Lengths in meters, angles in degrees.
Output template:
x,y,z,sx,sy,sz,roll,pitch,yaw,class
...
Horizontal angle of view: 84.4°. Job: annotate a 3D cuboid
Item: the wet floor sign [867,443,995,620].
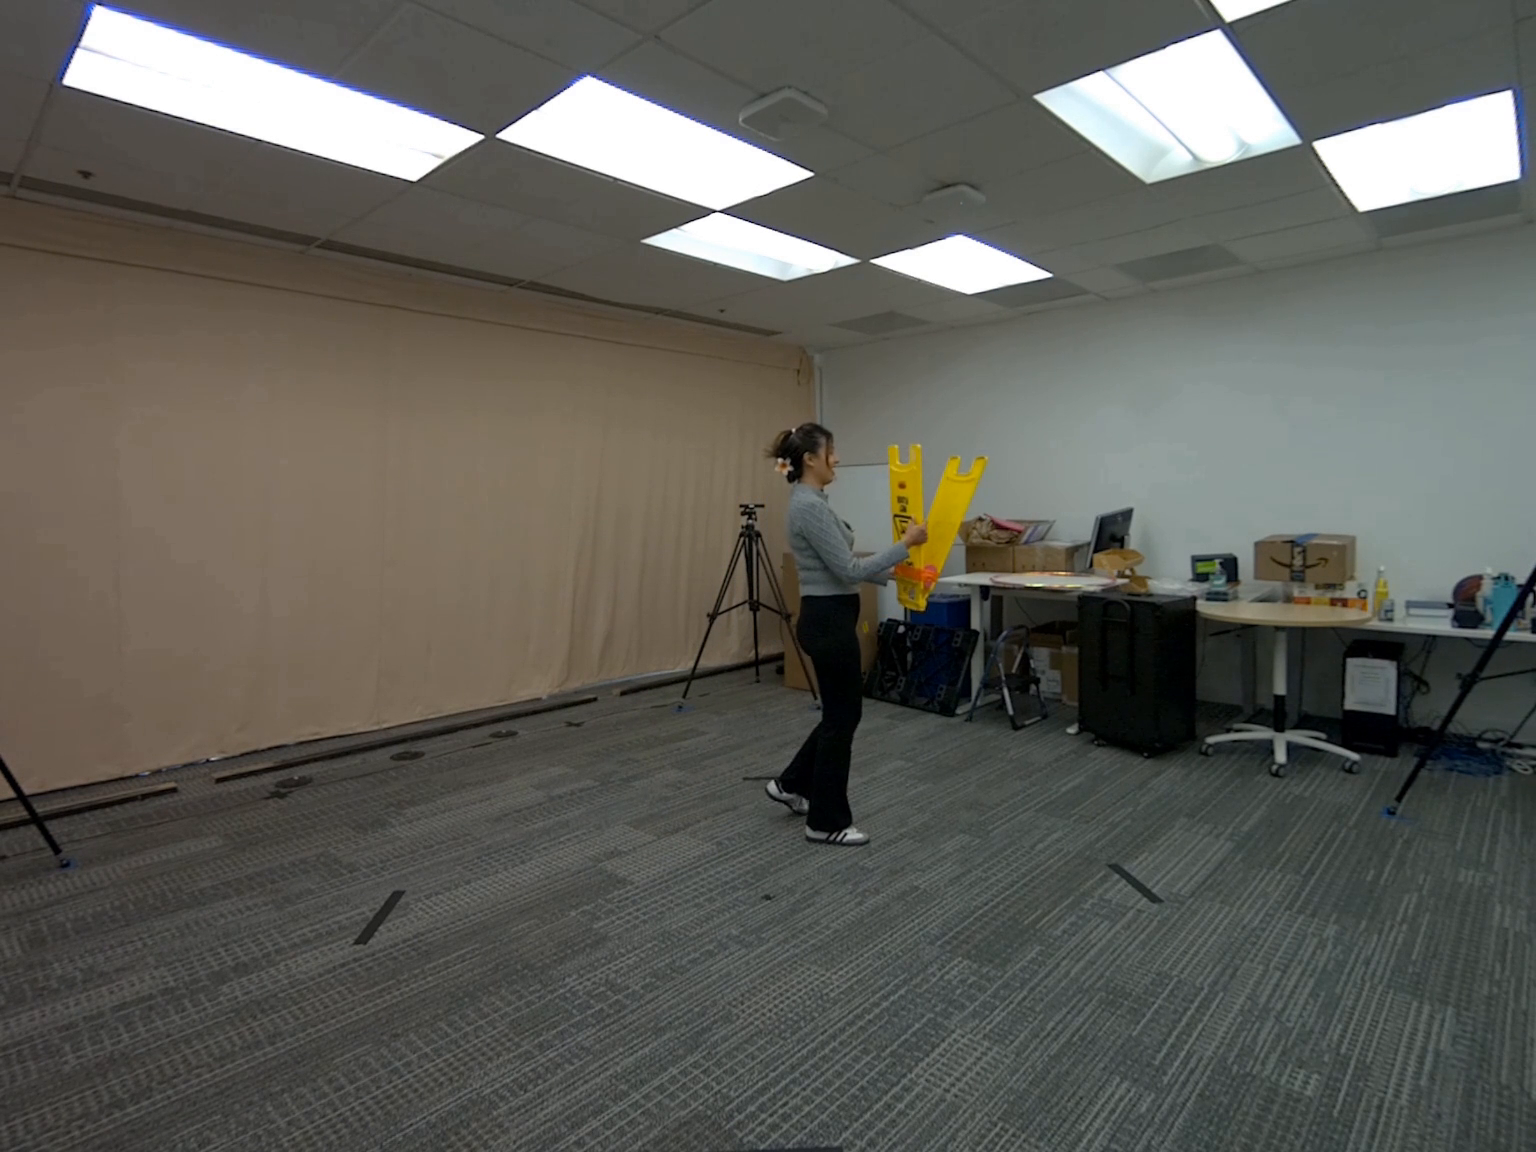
x,y,z,sx,sy,sz,roll,pitch,yaw,class
0.643,-0.186,3.398,0.285,0.645,0.287,8,4,-15,wet floor sign
